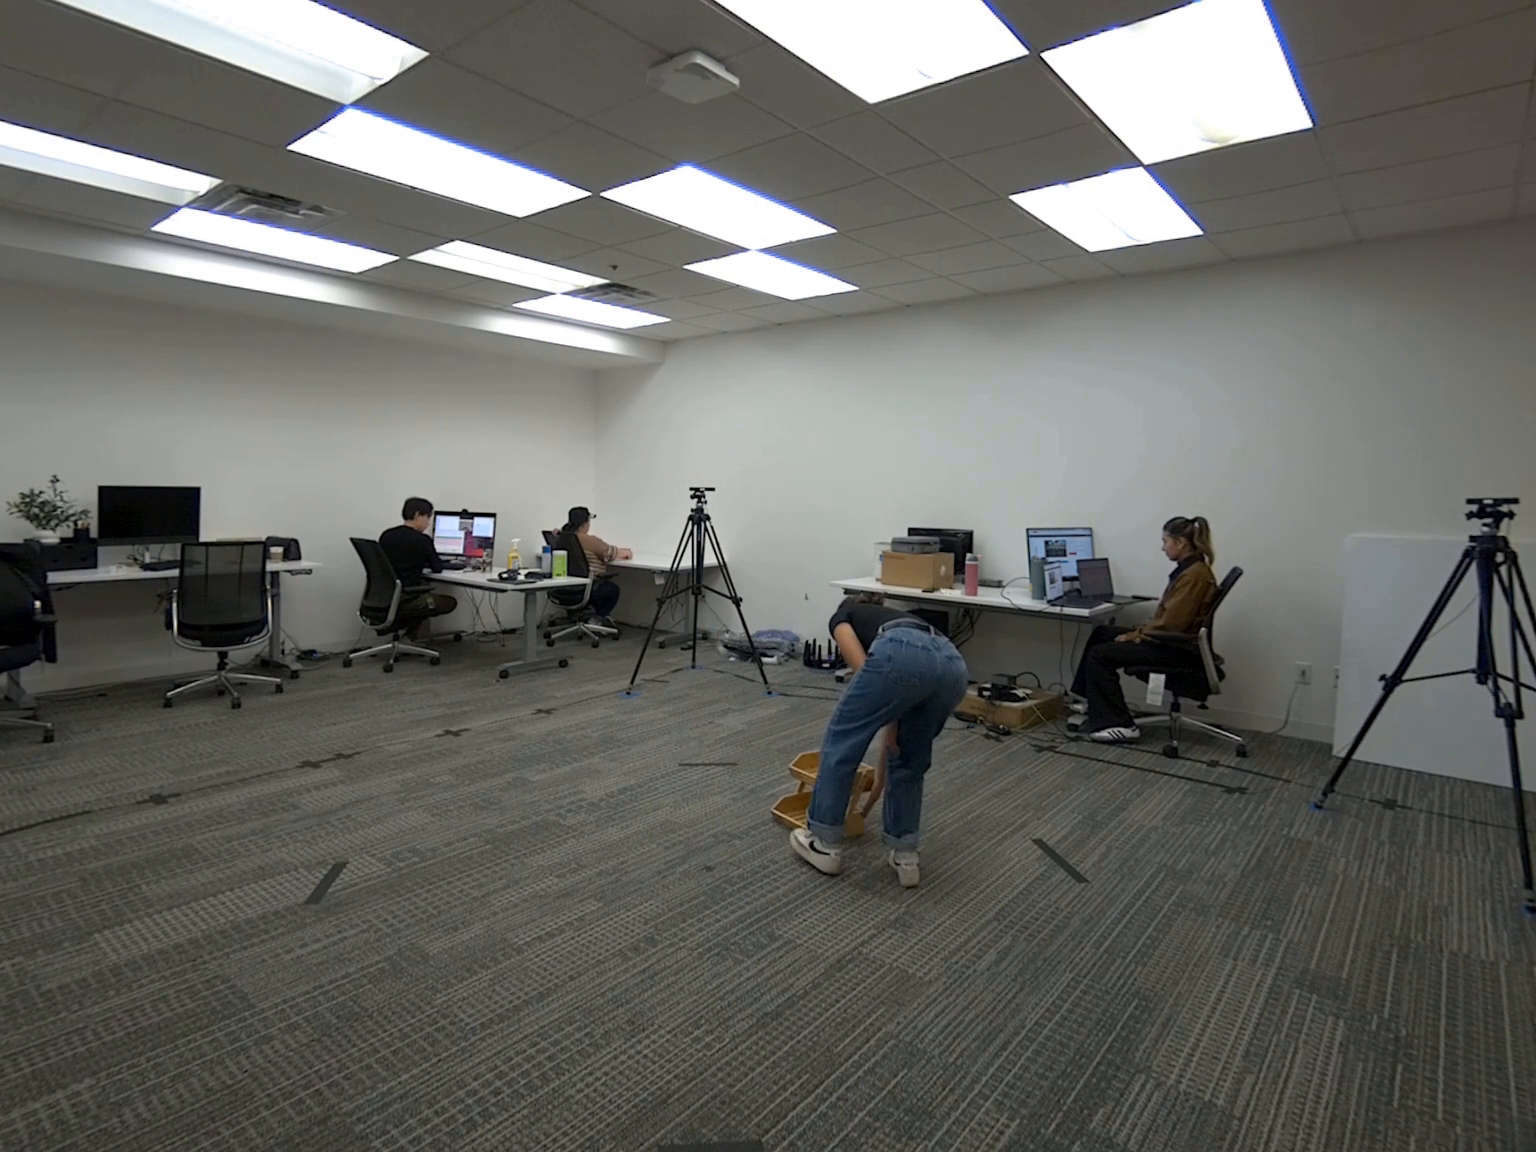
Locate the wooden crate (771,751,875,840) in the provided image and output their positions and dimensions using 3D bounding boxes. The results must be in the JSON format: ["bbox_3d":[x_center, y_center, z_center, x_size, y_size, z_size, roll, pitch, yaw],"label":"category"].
[{"bbox_3d":[0.215,0.897,3.527,0.293,0.272,0.335,-1,5,-37],"label":"wooden crate"}]
